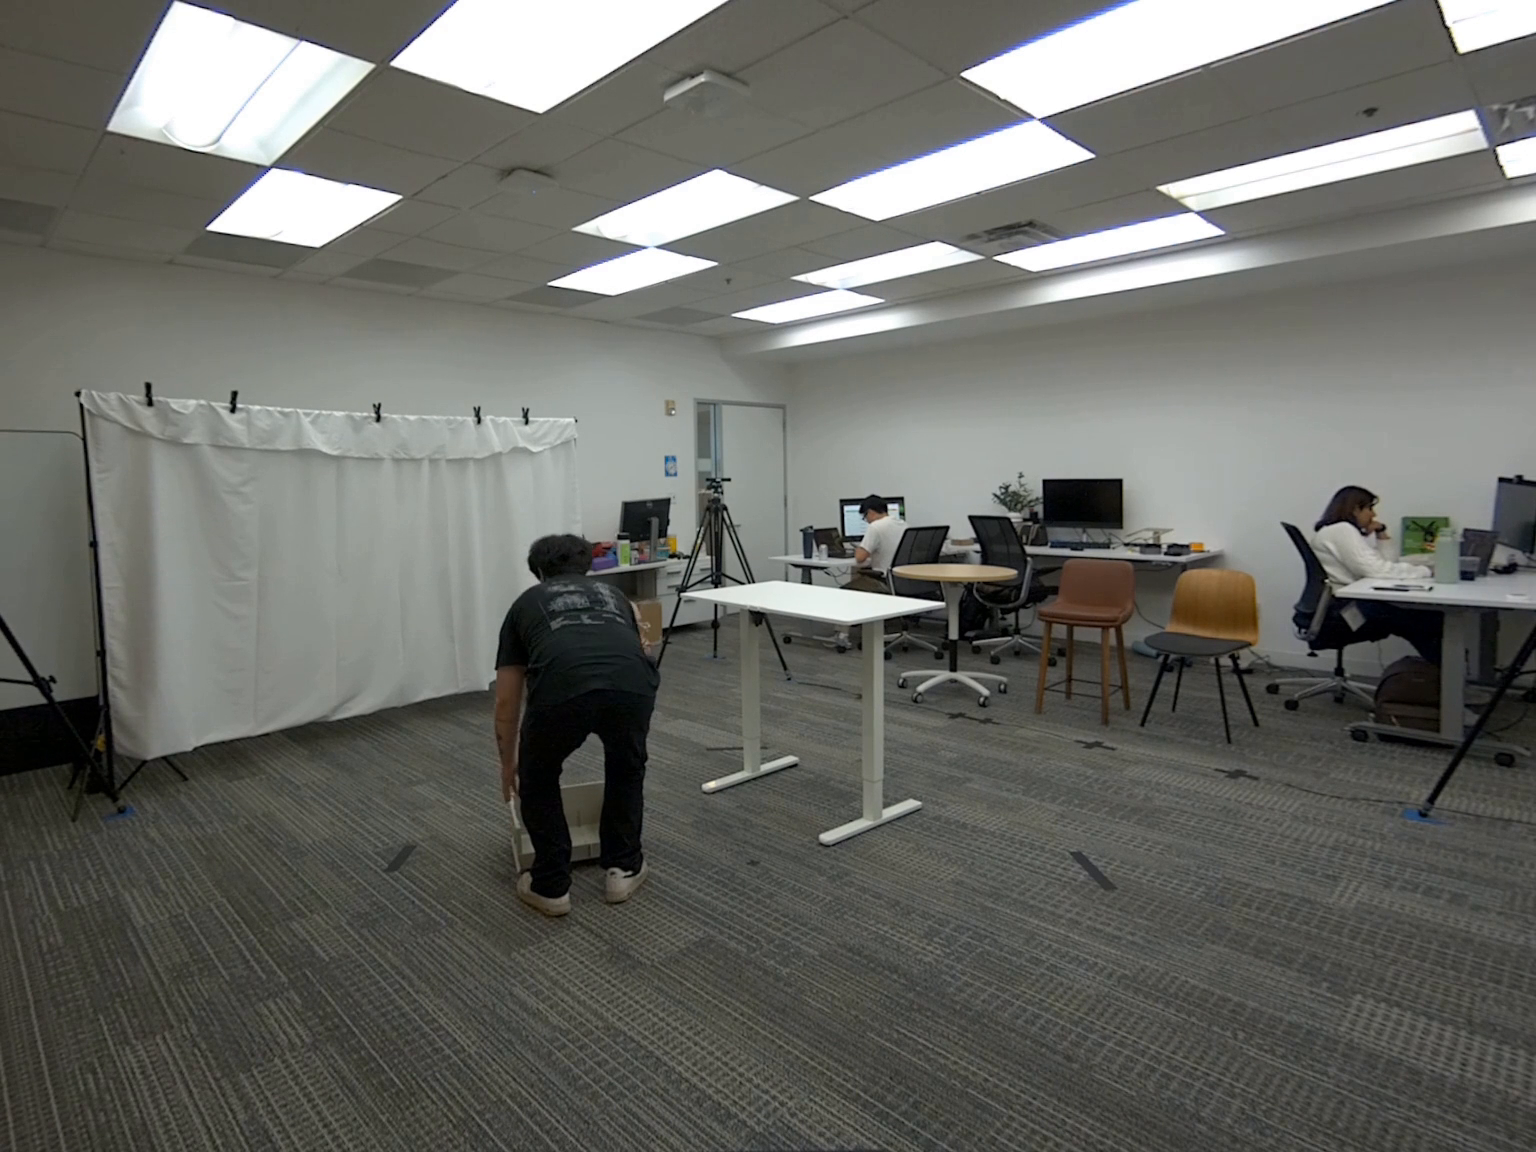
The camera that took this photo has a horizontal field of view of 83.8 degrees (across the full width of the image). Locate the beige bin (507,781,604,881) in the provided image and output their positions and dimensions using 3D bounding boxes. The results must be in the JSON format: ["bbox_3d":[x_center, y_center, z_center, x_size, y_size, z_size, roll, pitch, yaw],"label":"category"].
[{"bbox_3d":[-0.751,0.953,3.241,0.415,0.188,0.385,-4,6,-20],"label":"beige bin"}]
